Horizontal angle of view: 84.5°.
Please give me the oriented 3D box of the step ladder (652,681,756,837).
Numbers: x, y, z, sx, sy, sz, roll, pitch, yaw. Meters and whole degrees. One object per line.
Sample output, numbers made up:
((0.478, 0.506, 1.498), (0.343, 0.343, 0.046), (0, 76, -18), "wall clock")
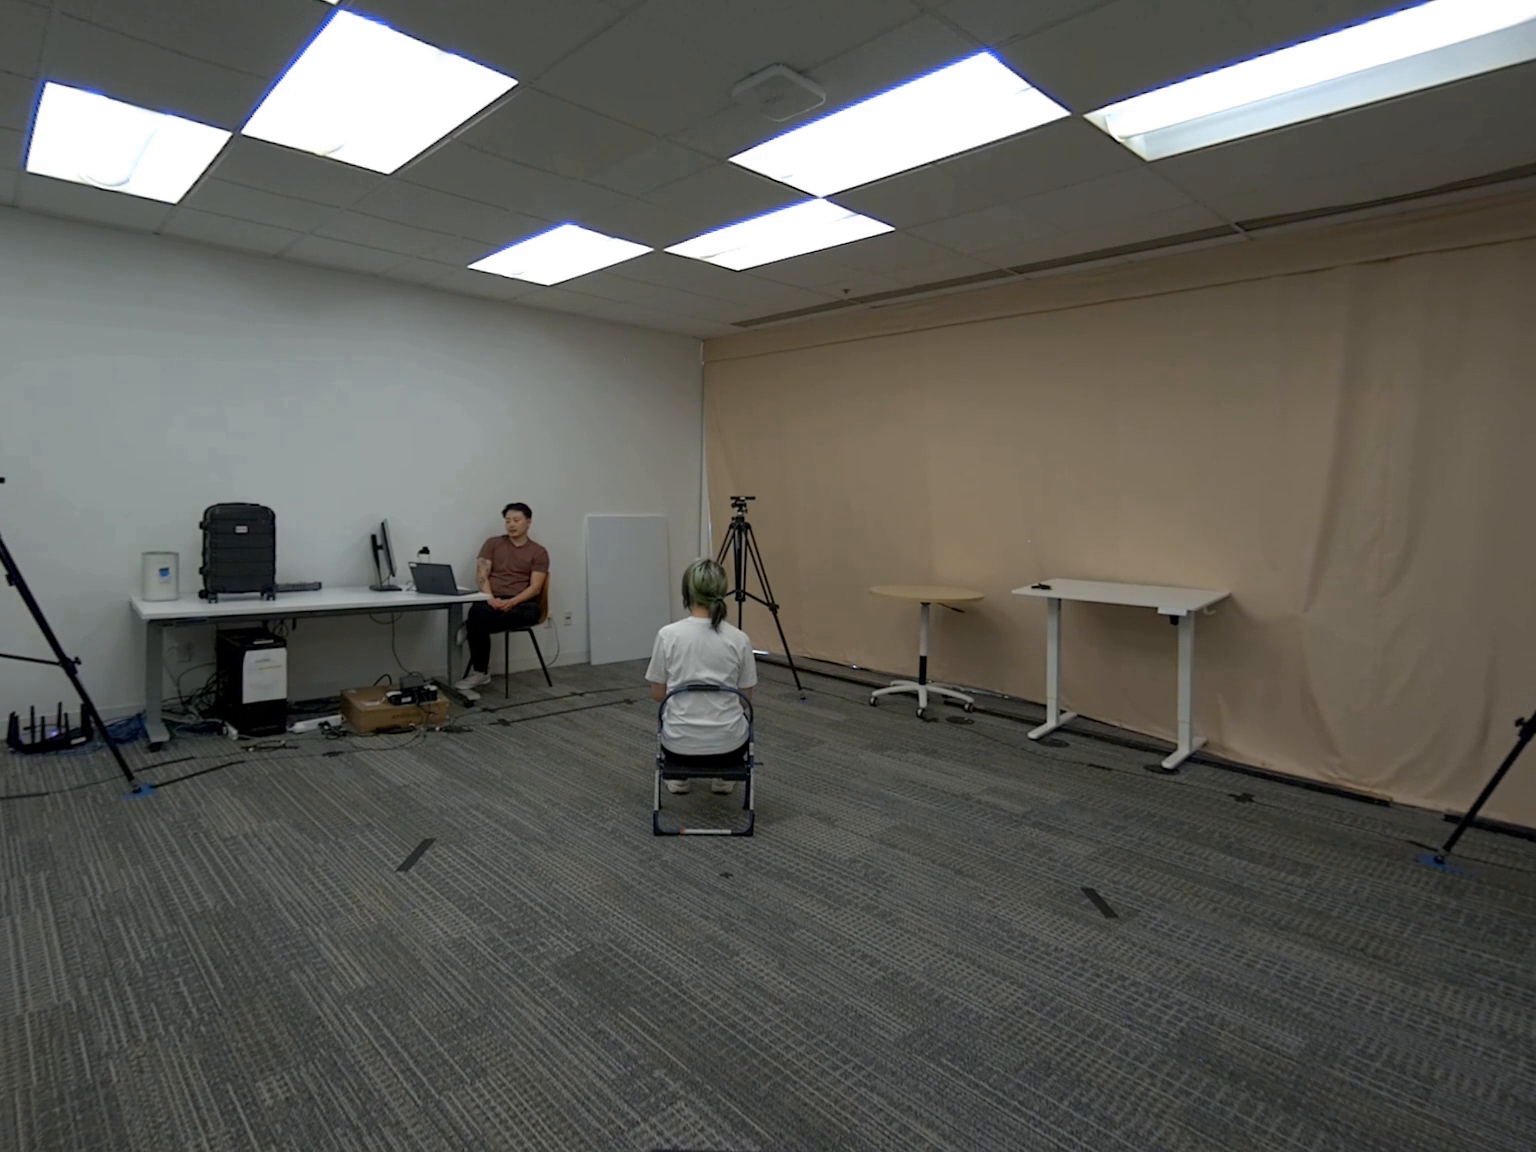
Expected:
((-0.285, 0.760, 3.612), (0.429, 0.605, 0.351), (1, 2, -5), "step ladder")
